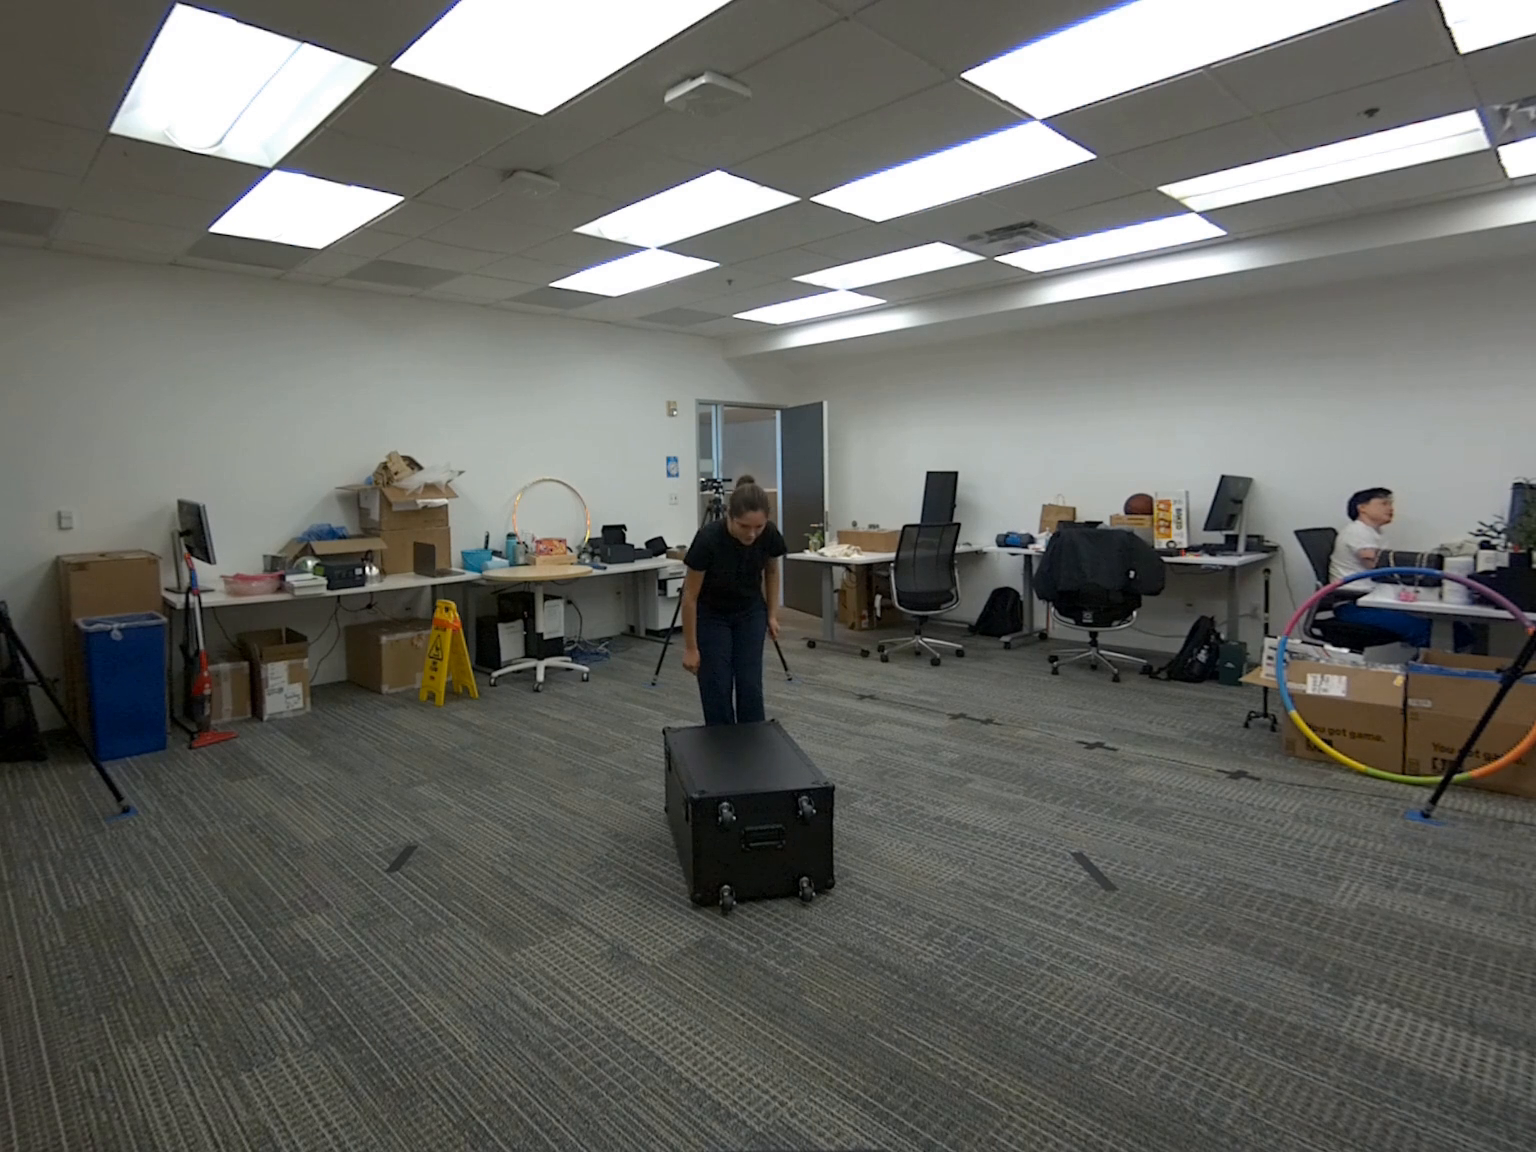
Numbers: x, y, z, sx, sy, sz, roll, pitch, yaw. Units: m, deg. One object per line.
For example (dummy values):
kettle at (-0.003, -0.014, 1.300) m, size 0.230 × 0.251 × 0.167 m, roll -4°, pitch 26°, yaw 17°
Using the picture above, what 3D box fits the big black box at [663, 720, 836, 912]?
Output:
big black box at (-0.100, 0.848, 3.167) m, size 0.515 × 0.394 × 0.875 m, roll -3°, pitch 6°, yaw -13°
